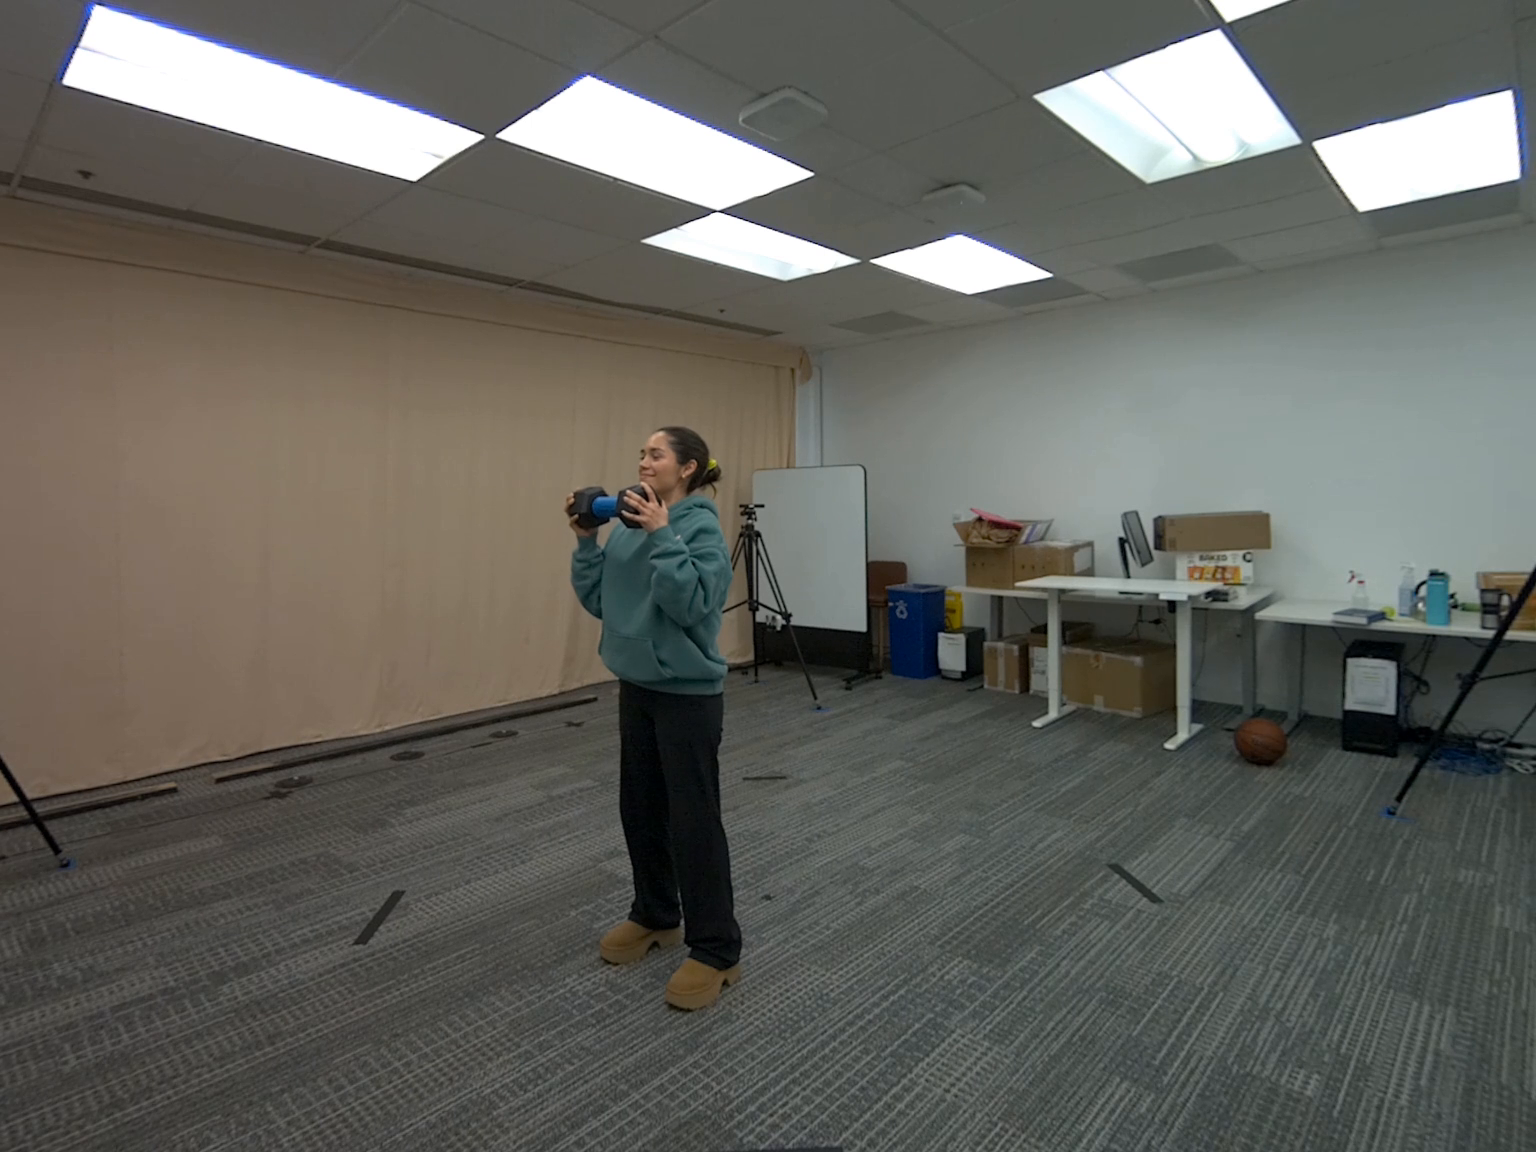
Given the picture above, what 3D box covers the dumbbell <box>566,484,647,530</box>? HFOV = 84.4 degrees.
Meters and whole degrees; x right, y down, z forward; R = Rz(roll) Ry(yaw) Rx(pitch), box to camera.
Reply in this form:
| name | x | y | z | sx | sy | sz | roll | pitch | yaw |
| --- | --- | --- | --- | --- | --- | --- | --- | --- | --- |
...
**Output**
| name | x | y | z | sx | sy | sz | roll | pitch | yaw |
| --- | --- | --- | --- | --- | --- | --- | --- | --- | --- |
| dumbbell | -0.425 | -0.187 | 2.346 | 0.303 | 0.108 | 0.119 | 3 | -39 | 44 |
